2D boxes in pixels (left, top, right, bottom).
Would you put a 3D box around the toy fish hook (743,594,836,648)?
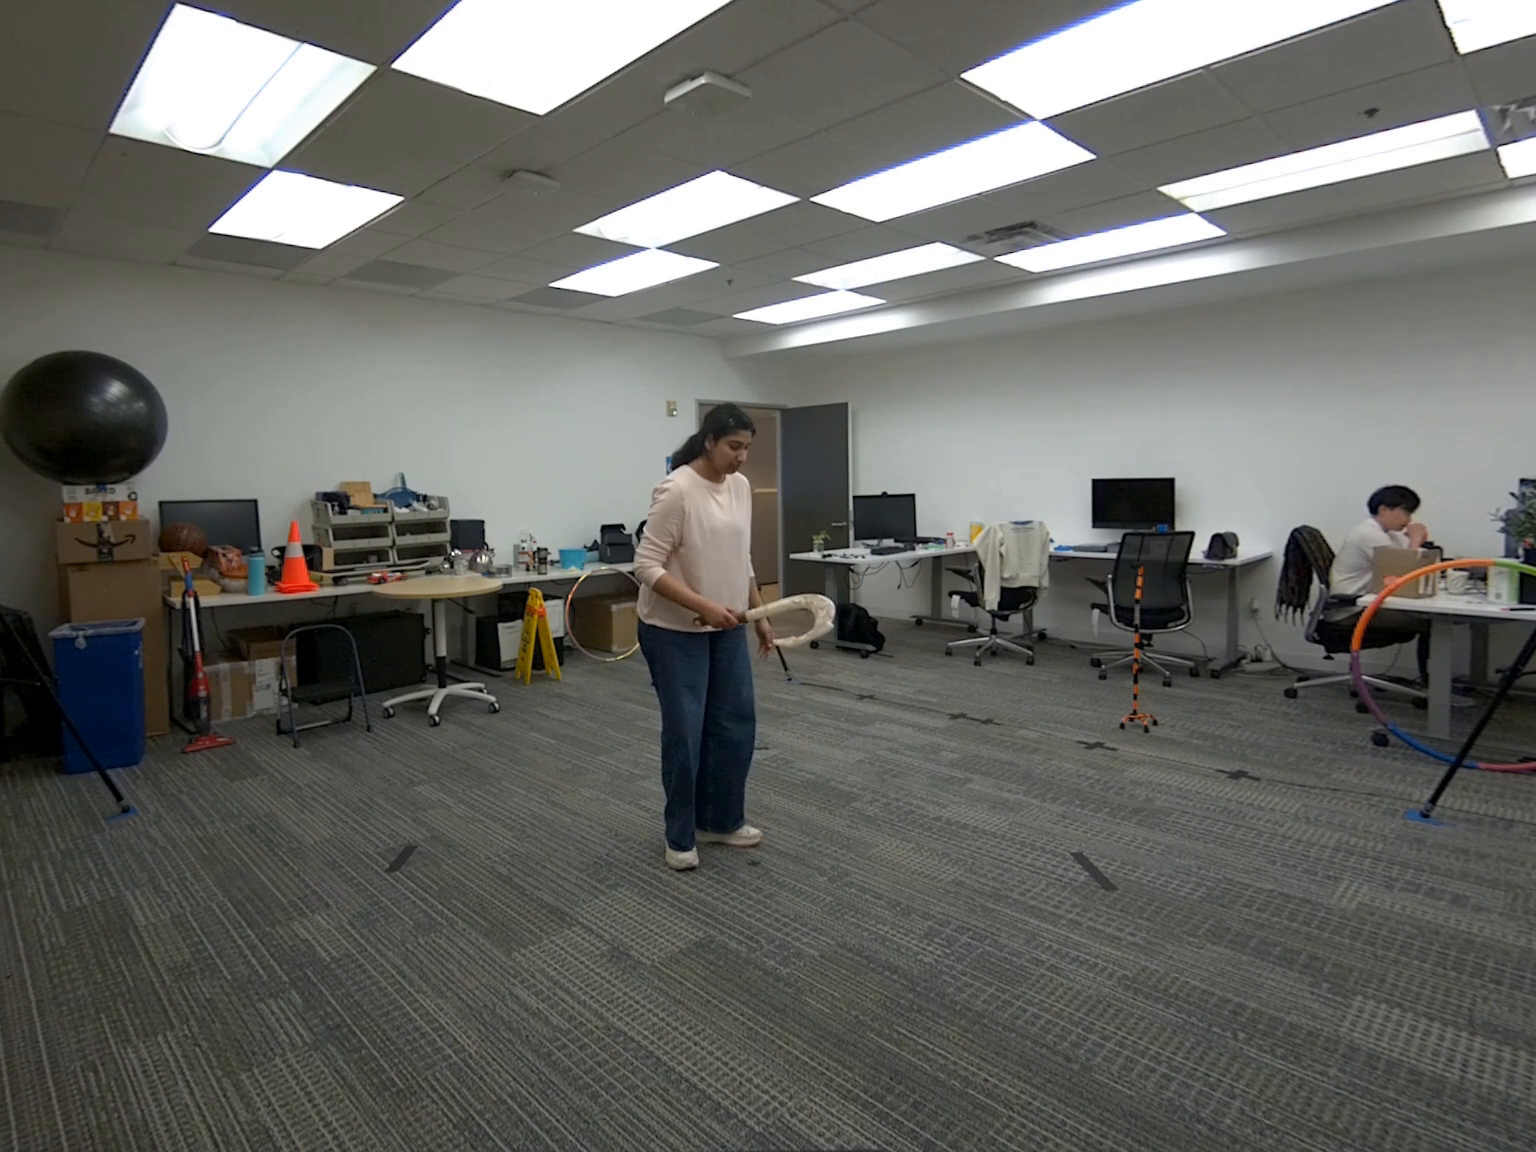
[{"bbox_3d":[-0.025,0.179,2.840,0.515,0.047,0.228,-8,35,20],"label":"toy fish hook"}]
